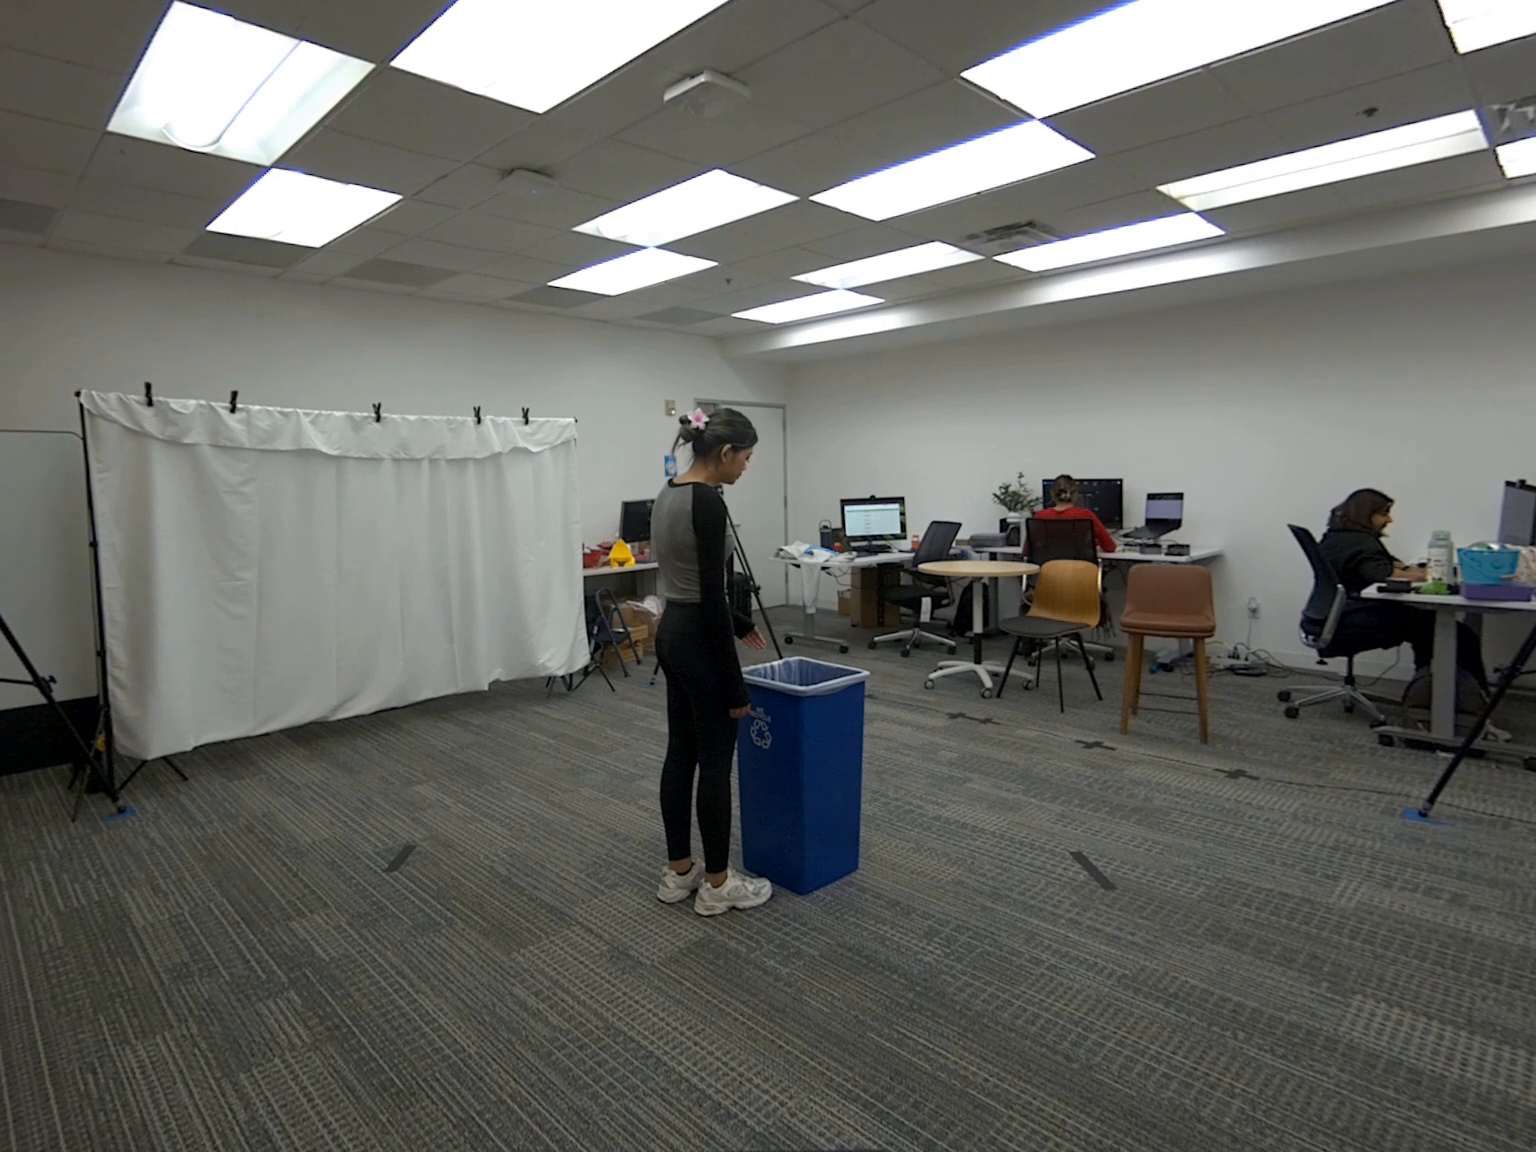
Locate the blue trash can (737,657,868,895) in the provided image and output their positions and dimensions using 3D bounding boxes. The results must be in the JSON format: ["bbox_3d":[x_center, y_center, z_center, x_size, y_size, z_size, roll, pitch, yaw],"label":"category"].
[{"bbox_3d":[0.124,0.691,3.032,0.368,0.711,0.385,-5,6,-43],"label":"blue trash can"}]
